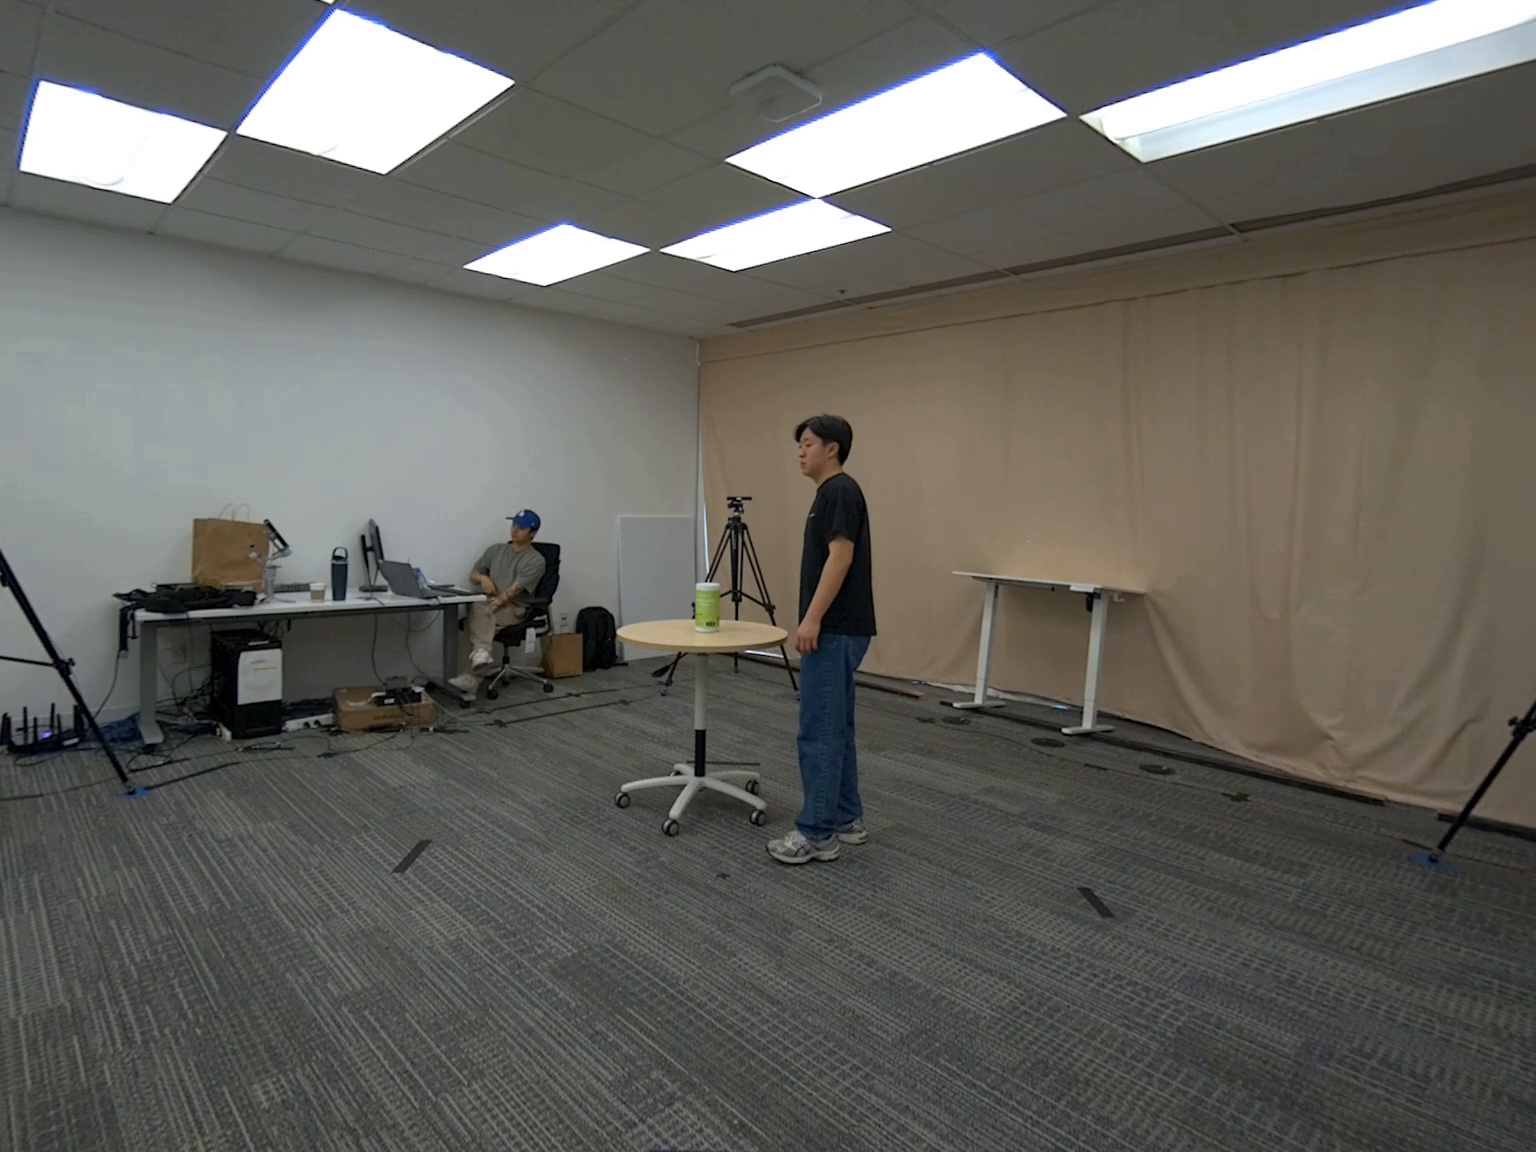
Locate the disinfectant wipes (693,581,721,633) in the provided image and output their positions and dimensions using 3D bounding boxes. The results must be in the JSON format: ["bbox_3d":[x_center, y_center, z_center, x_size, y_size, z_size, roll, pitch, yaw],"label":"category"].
[{"bbox_3d":[-0.276,0.140,3.788,0.118,0.217,0.118,0,4,-1],"label":"disinfectant wipes"}]
